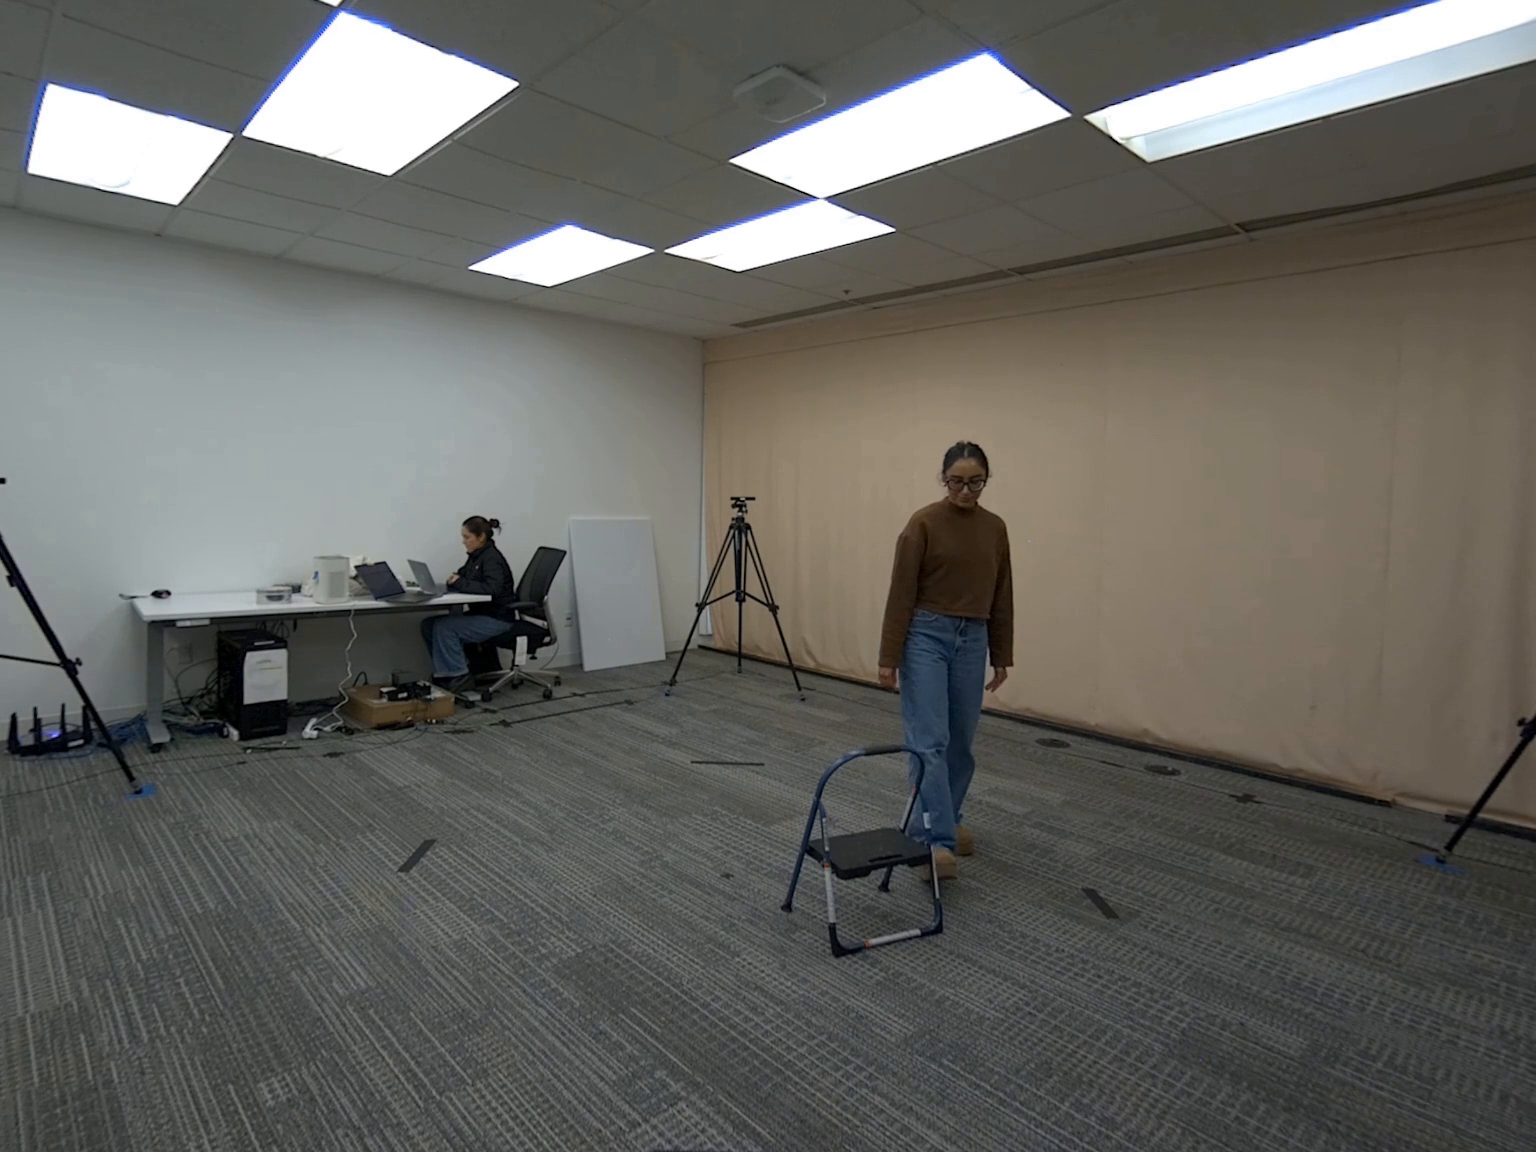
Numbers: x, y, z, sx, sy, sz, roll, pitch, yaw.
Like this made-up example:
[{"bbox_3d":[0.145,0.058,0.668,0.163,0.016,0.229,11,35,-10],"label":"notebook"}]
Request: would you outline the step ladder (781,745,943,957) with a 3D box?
[{"bbox_3d":[0.314,0.844,2.778,0.422,0.604,0.357,0,4,-27],"label":"step ladder"}]
